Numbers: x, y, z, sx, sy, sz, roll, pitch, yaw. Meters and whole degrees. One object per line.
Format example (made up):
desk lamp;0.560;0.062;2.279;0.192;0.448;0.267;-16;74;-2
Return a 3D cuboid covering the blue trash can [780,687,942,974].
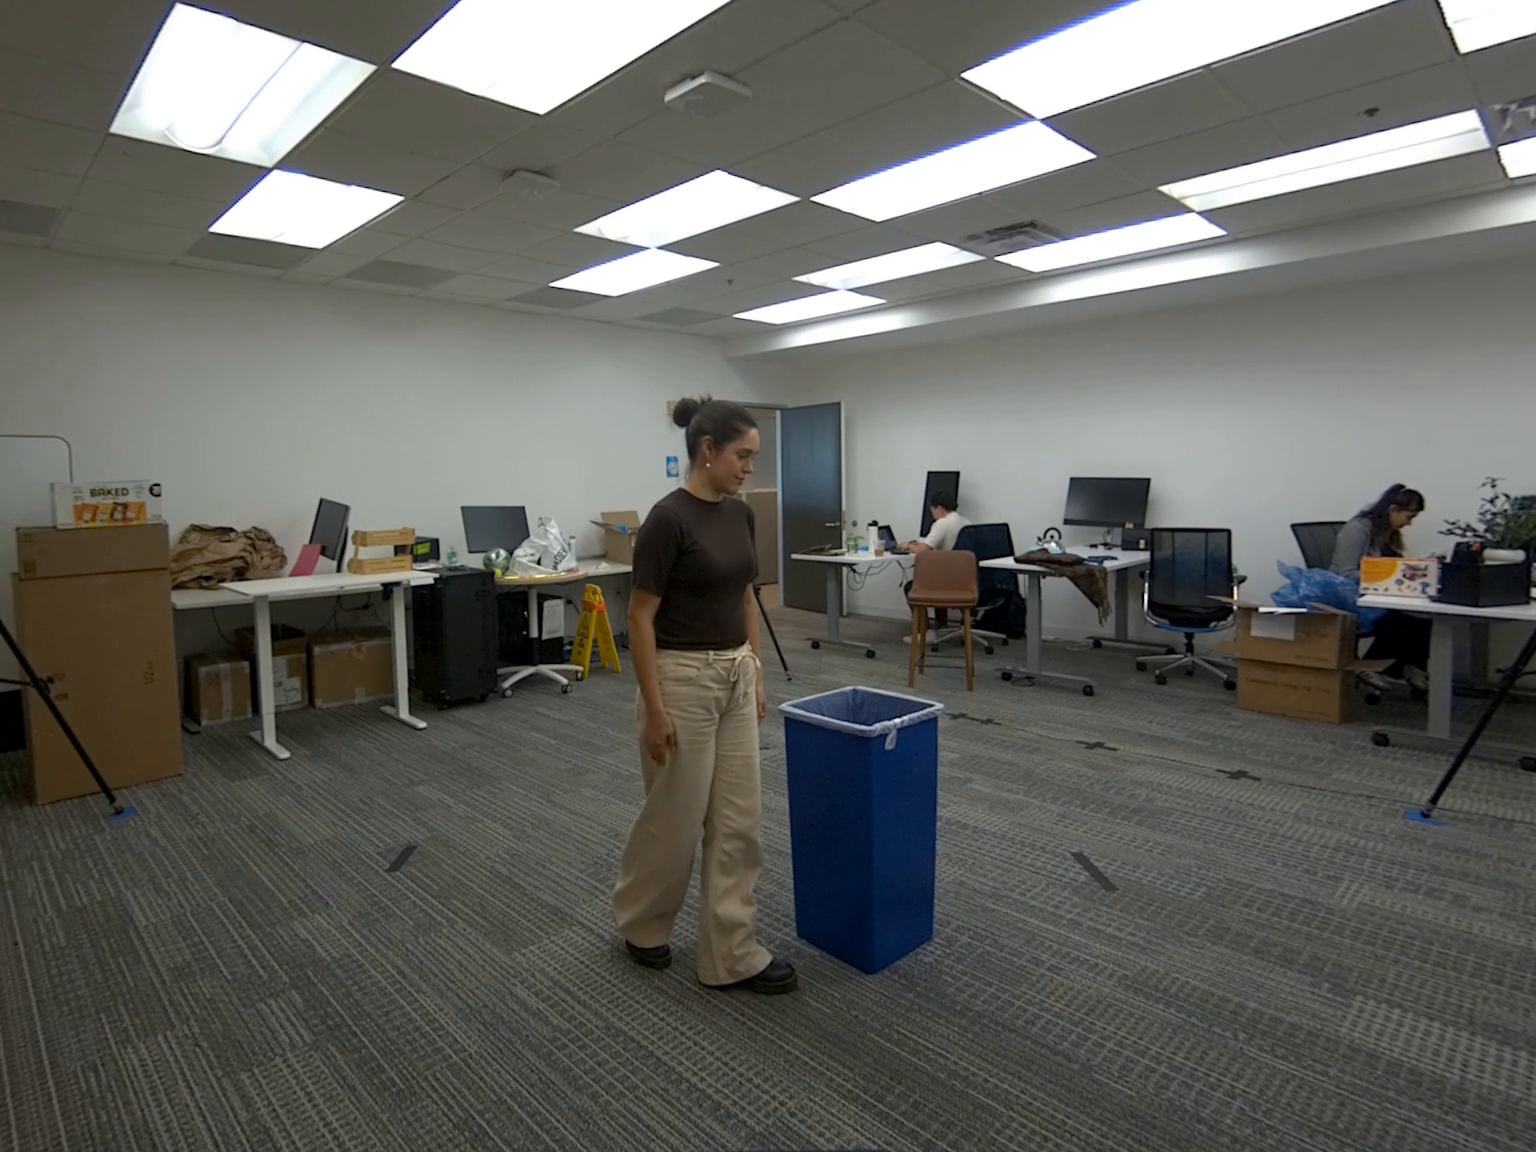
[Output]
blue trash can;0.294;0.741;2.586;0.364;0.711;0.389;-5;6;-43
